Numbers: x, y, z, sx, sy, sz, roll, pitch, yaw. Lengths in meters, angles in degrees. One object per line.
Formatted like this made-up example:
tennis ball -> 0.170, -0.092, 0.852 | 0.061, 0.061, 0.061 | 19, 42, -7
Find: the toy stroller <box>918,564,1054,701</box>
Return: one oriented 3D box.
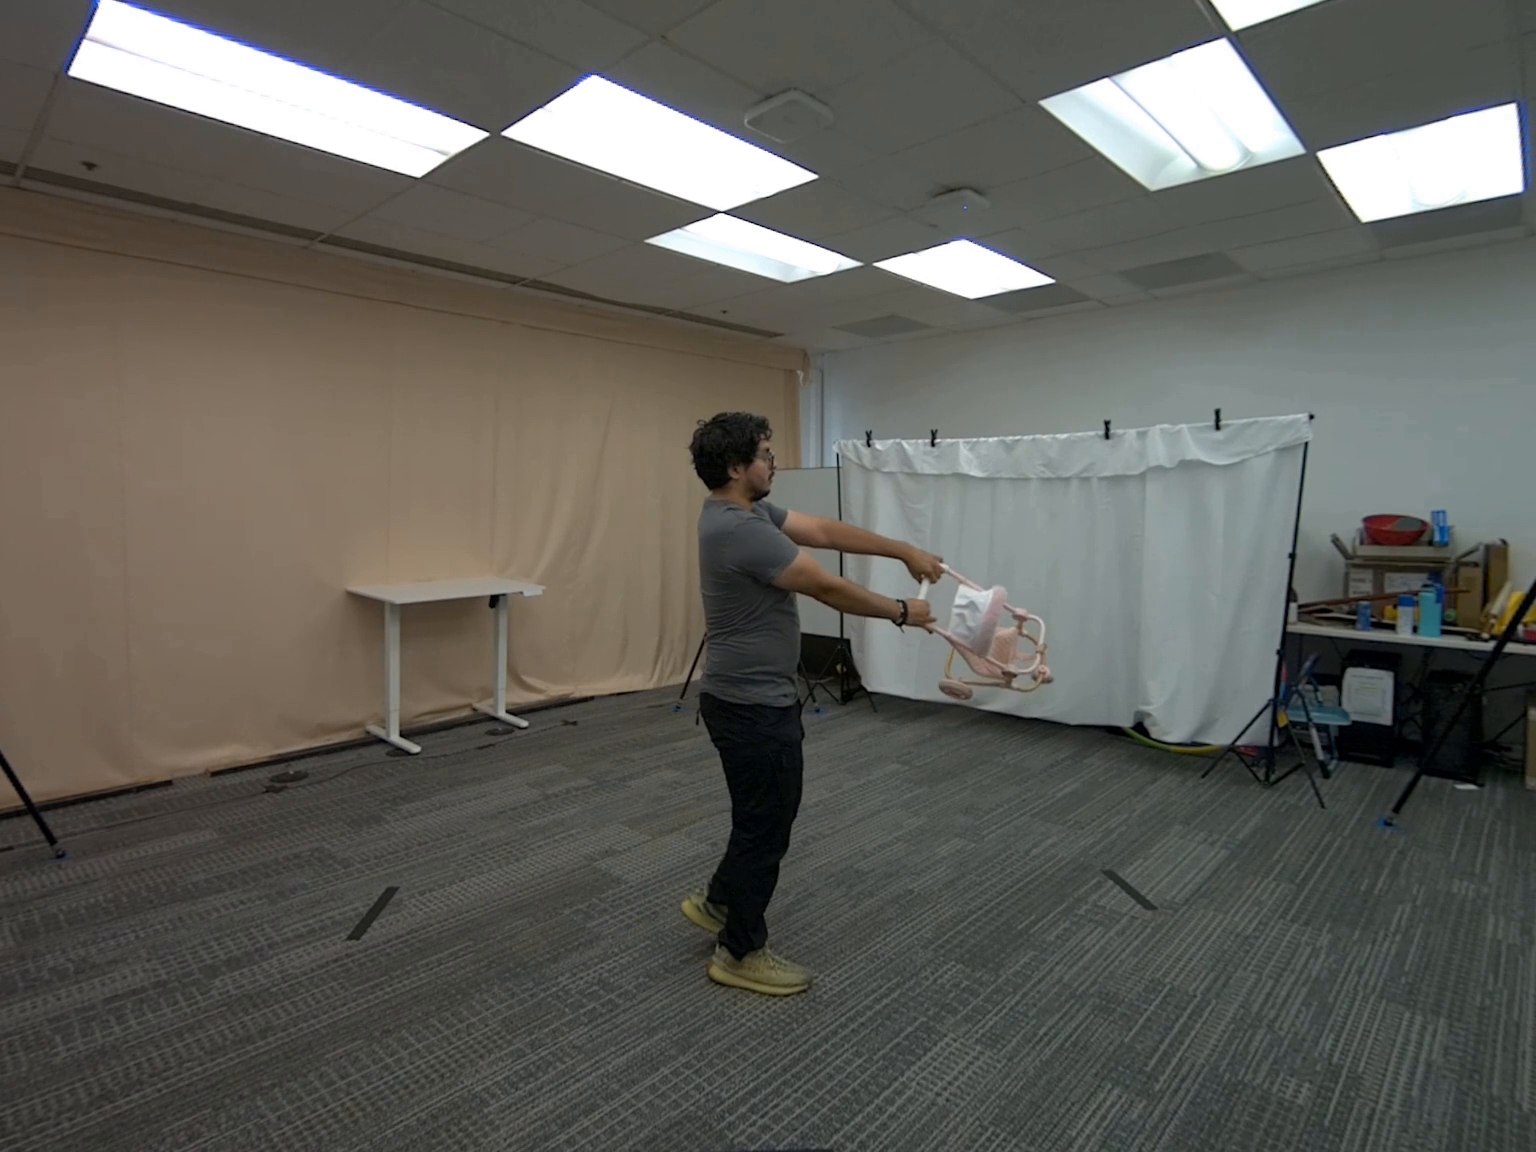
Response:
toy stroller -> 0.685, 0.196, 2.588 | 0.352, 0.282, 0.517 | 11, -27, 31
